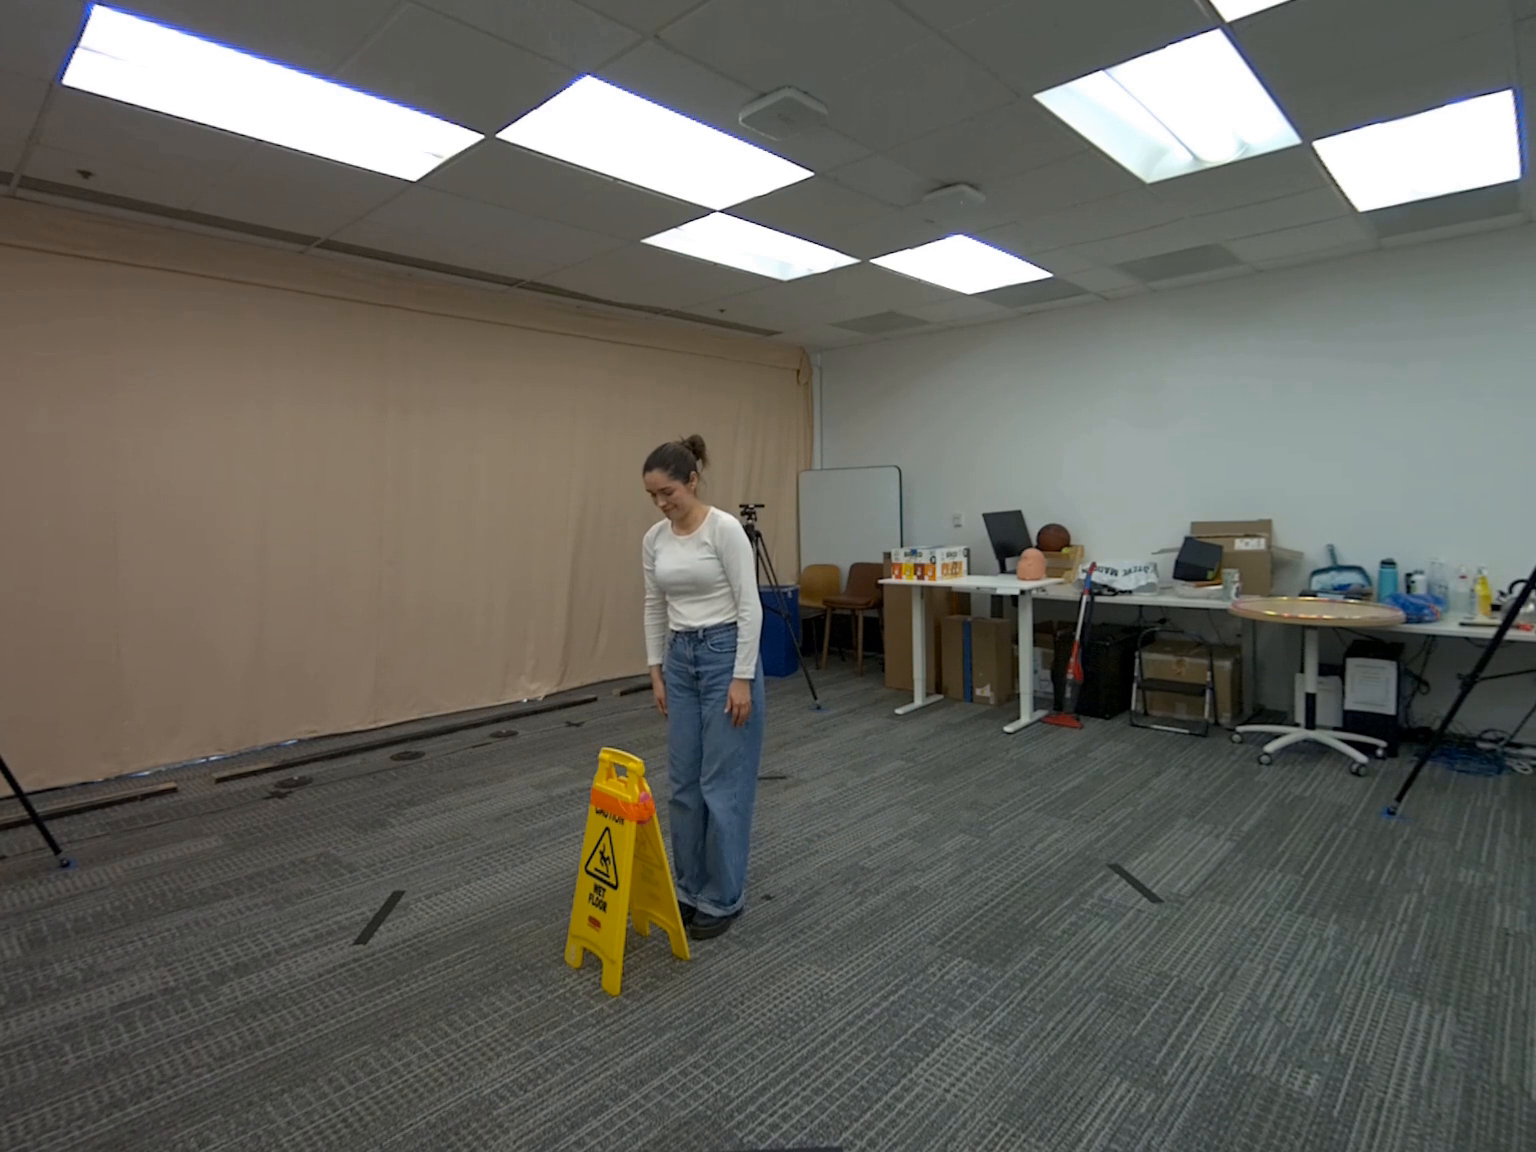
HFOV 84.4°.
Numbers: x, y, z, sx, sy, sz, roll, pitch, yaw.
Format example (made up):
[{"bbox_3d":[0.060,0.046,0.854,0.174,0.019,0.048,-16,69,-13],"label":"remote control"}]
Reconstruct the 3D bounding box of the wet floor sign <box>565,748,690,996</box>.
[{"bbox_3d":[-0.441,0.862,2.564,0.281,0.645,0.291,-5,4,-44],"label":"wet floor sign"}]
